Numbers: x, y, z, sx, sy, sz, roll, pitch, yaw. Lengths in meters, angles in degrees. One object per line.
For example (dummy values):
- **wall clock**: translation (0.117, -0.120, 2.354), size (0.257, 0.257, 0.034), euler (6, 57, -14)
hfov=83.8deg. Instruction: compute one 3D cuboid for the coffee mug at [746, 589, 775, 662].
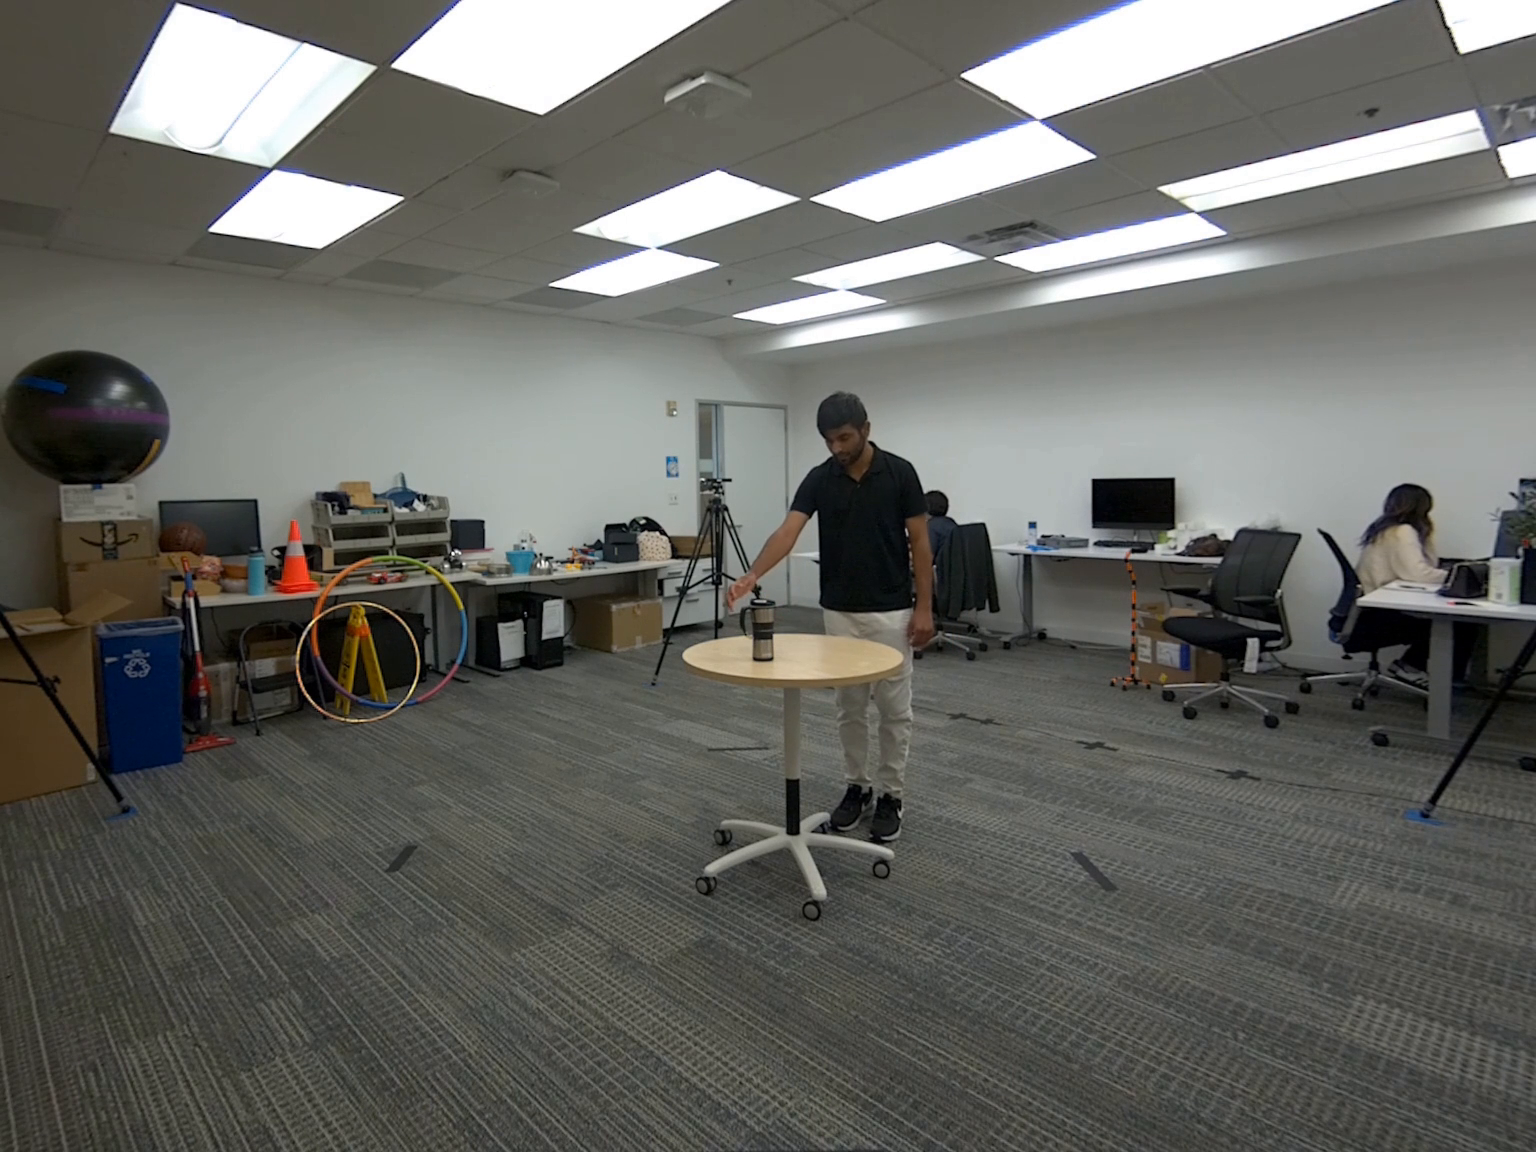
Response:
- **coffee mug**: translation (-0.004, 0.187, 2.892), size (0.119, 0.202, 0.090), euler (-7, 5, -31)
